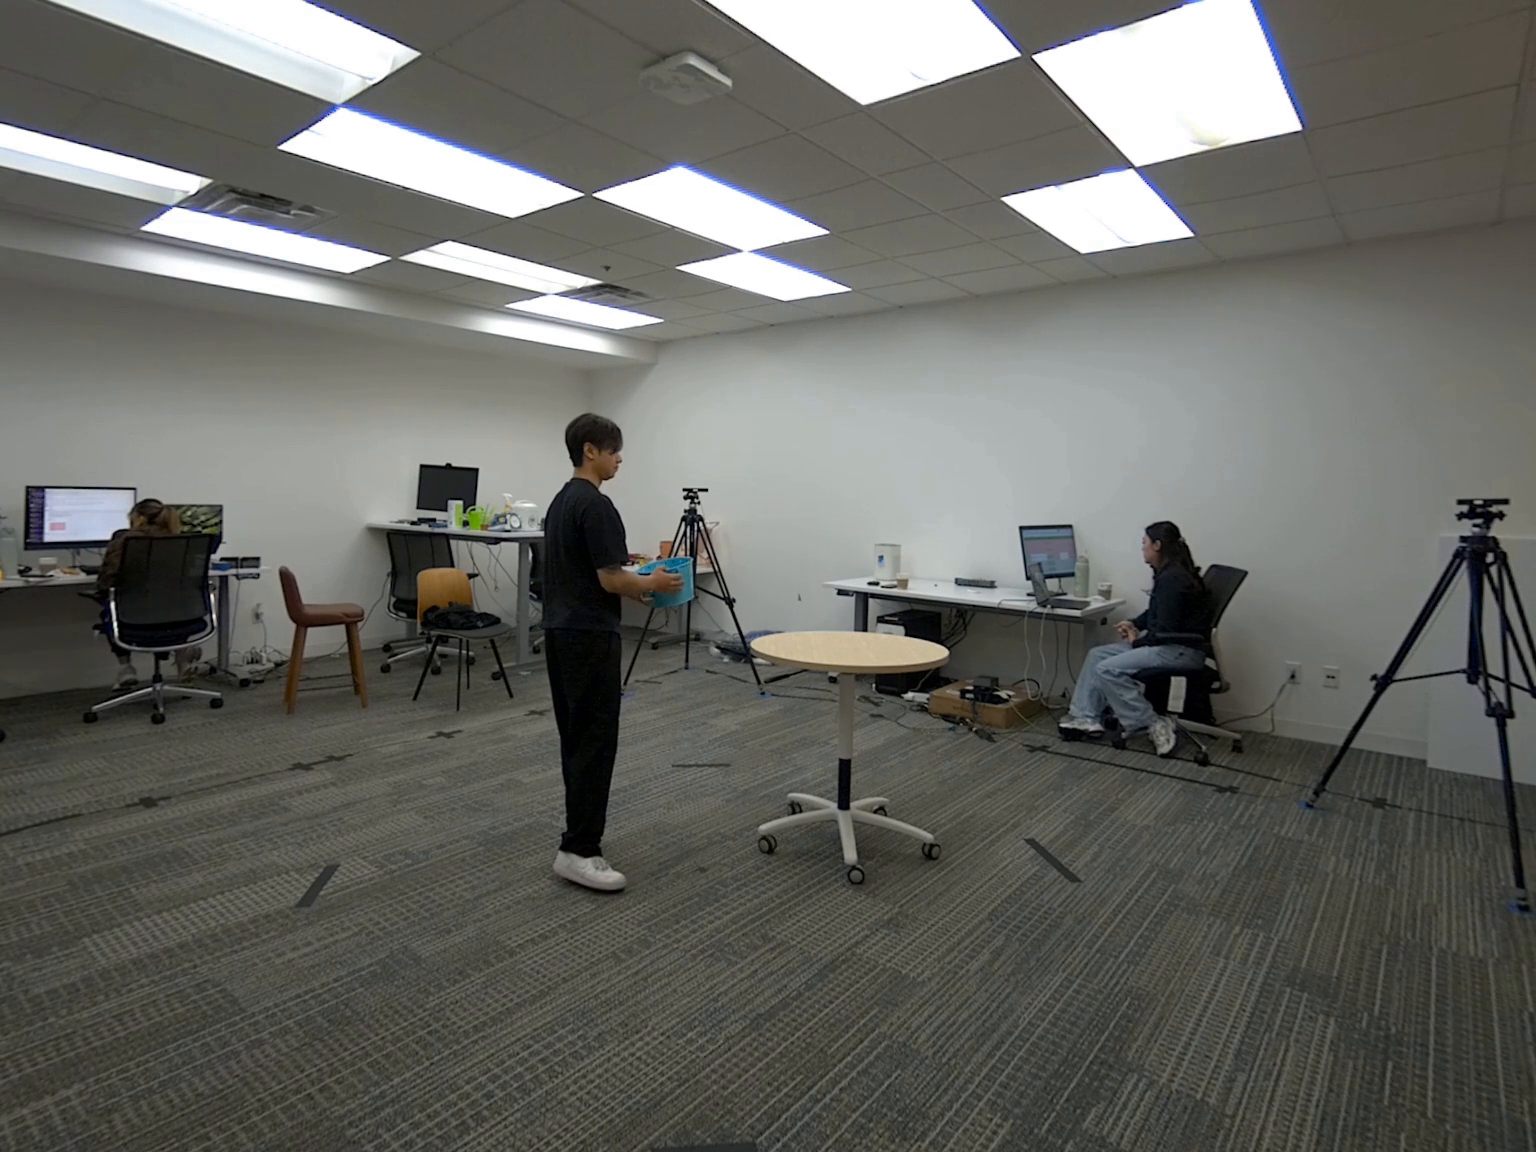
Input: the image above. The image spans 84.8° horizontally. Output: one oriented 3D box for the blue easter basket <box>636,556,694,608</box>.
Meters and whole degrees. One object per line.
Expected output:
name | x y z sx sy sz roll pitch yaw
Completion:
blue easter basket | -0.423 0.028 3.428 0.244 0.154 0.246 -9 10 0
